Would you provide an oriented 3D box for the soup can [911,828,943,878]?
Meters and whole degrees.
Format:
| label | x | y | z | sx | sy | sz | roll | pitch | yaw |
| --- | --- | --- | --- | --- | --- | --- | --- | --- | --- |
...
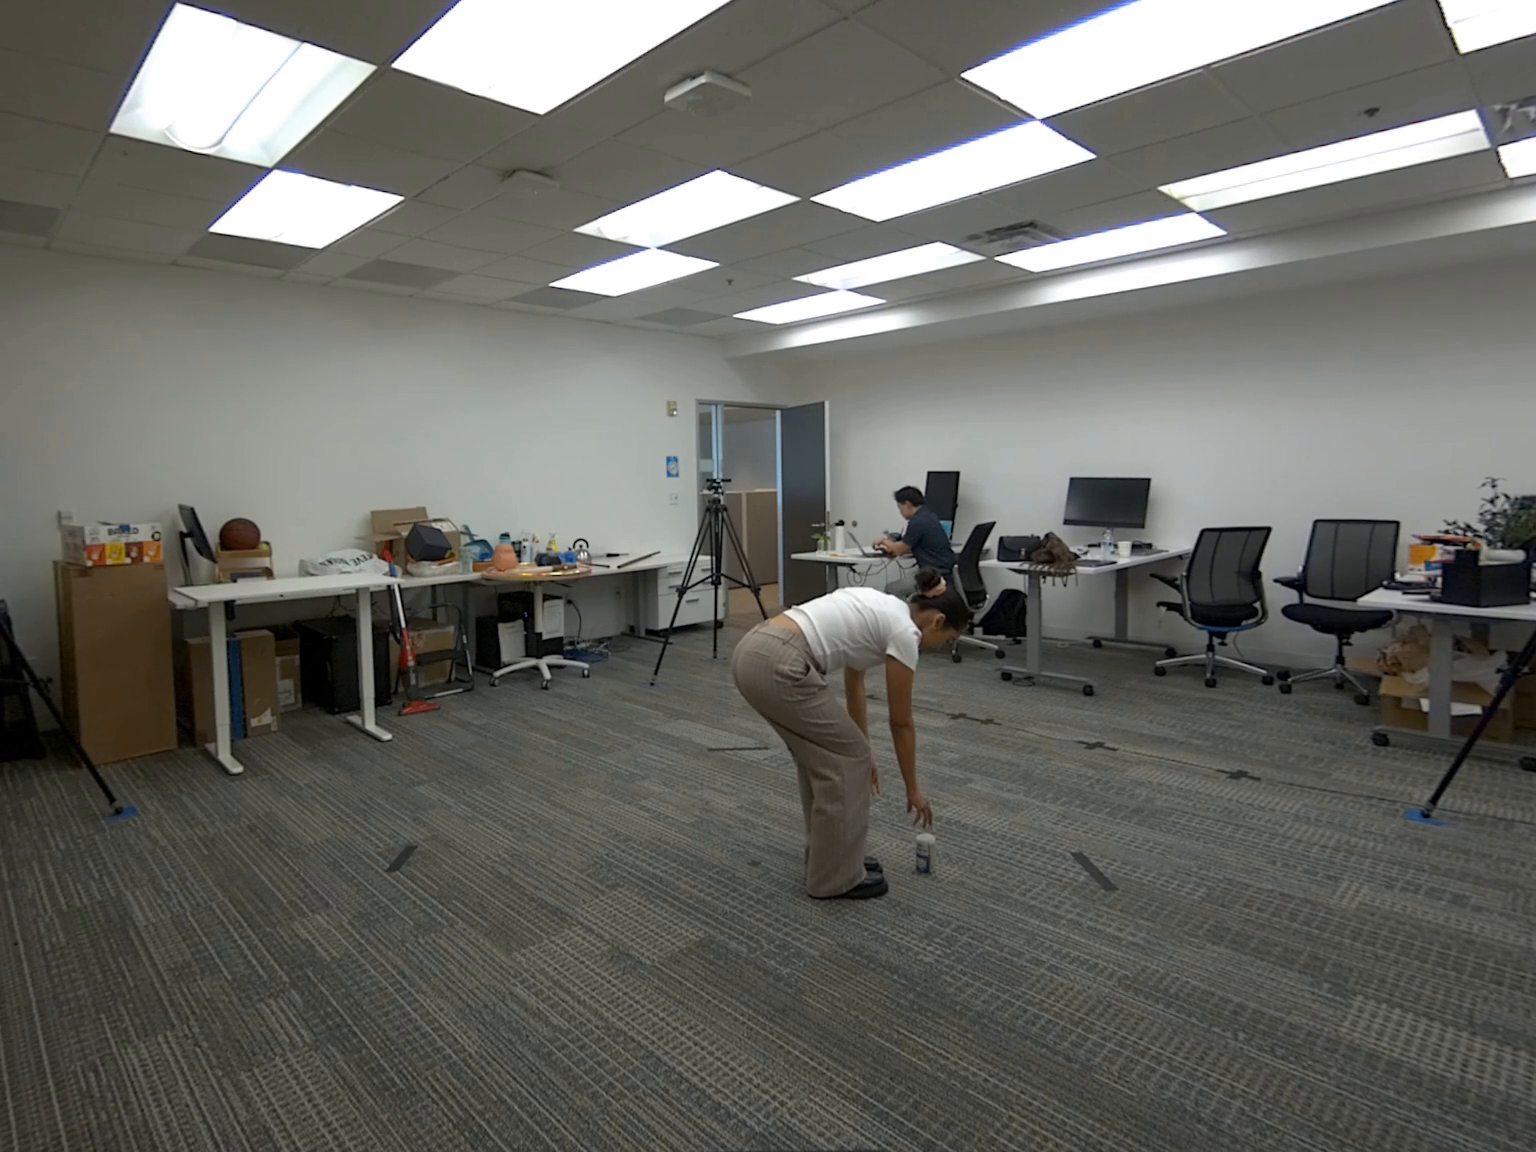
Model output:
| label | x | y | z | sx | sy | sz | roll | pitch | yaw |
| --- | --- | --- | --- | --- | --- | --- | --- | --- | --- |
| soup can | 0.538 | 0.980 | 3.015 | 0.067 | 0.121 | 0.067 | 4 | 4 | -2 |
